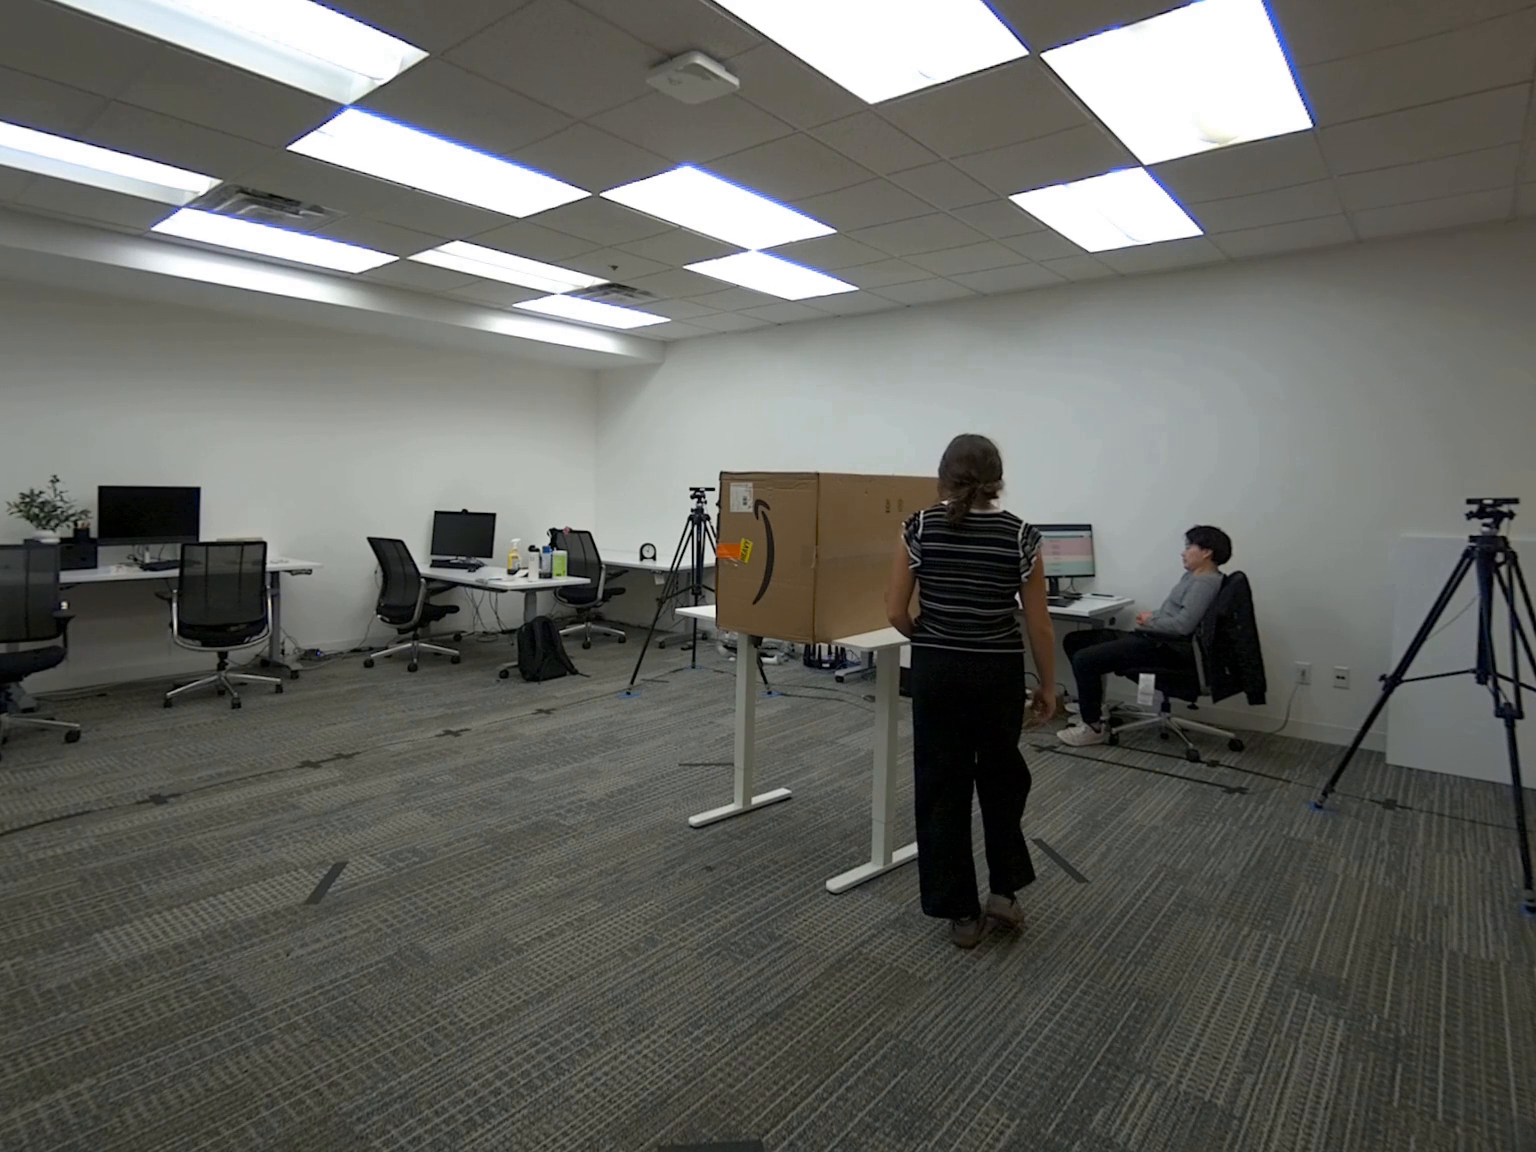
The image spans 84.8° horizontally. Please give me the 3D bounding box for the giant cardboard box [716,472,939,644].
[{"bbox_3d":[0.275,-0.113,3.310,0.440,0.575,0.996,5,6,38],"label":"giant cardboard box"}]
